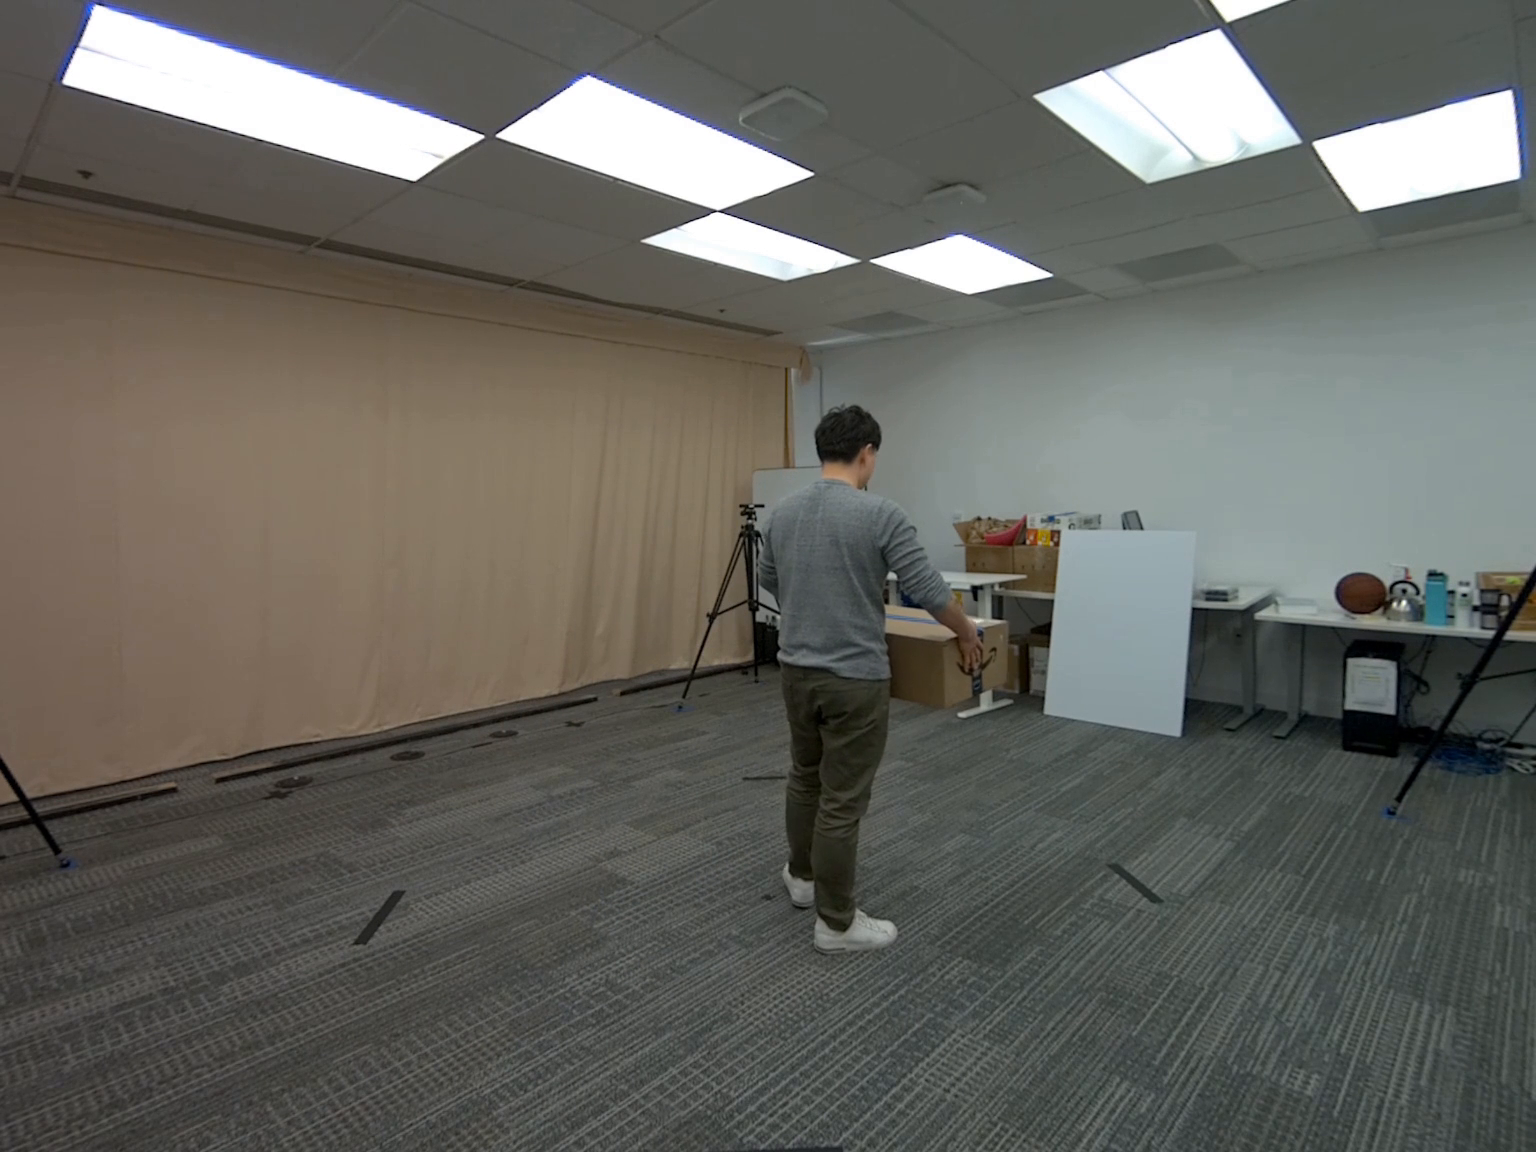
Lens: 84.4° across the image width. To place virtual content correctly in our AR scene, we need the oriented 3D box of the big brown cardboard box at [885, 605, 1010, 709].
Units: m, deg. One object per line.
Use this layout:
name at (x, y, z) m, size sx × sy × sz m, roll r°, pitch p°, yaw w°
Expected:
big brown cardboard box at (0.470, 0.252, 2.911) m, size 0.609 × 0.232 × 0.405 m, roll 5°, pitch 10°, yaw 43°
